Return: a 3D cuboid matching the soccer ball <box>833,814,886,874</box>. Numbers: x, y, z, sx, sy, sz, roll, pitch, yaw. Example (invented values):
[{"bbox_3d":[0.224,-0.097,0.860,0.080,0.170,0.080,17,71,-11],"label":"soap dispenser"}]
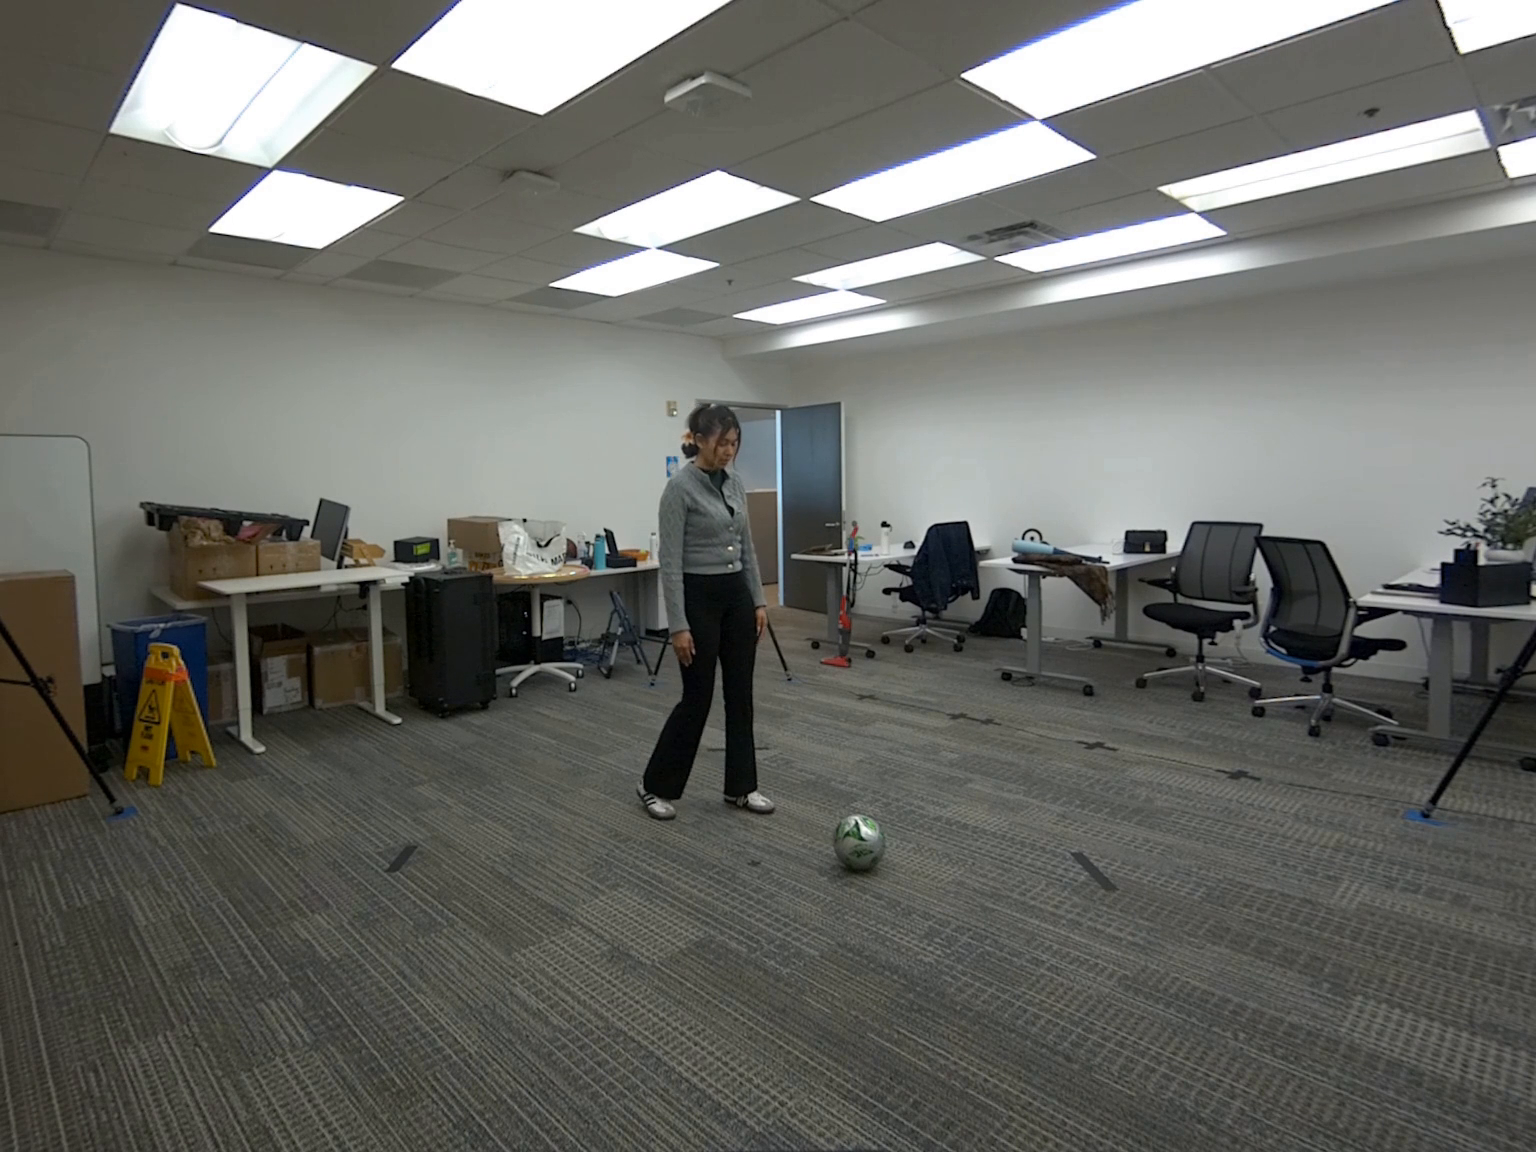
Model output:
[{"bbox_3d":[0.328,0.949,3.051,0.187,0.187,0.188,-1,5,-2],"label":"soccer ball"}]
